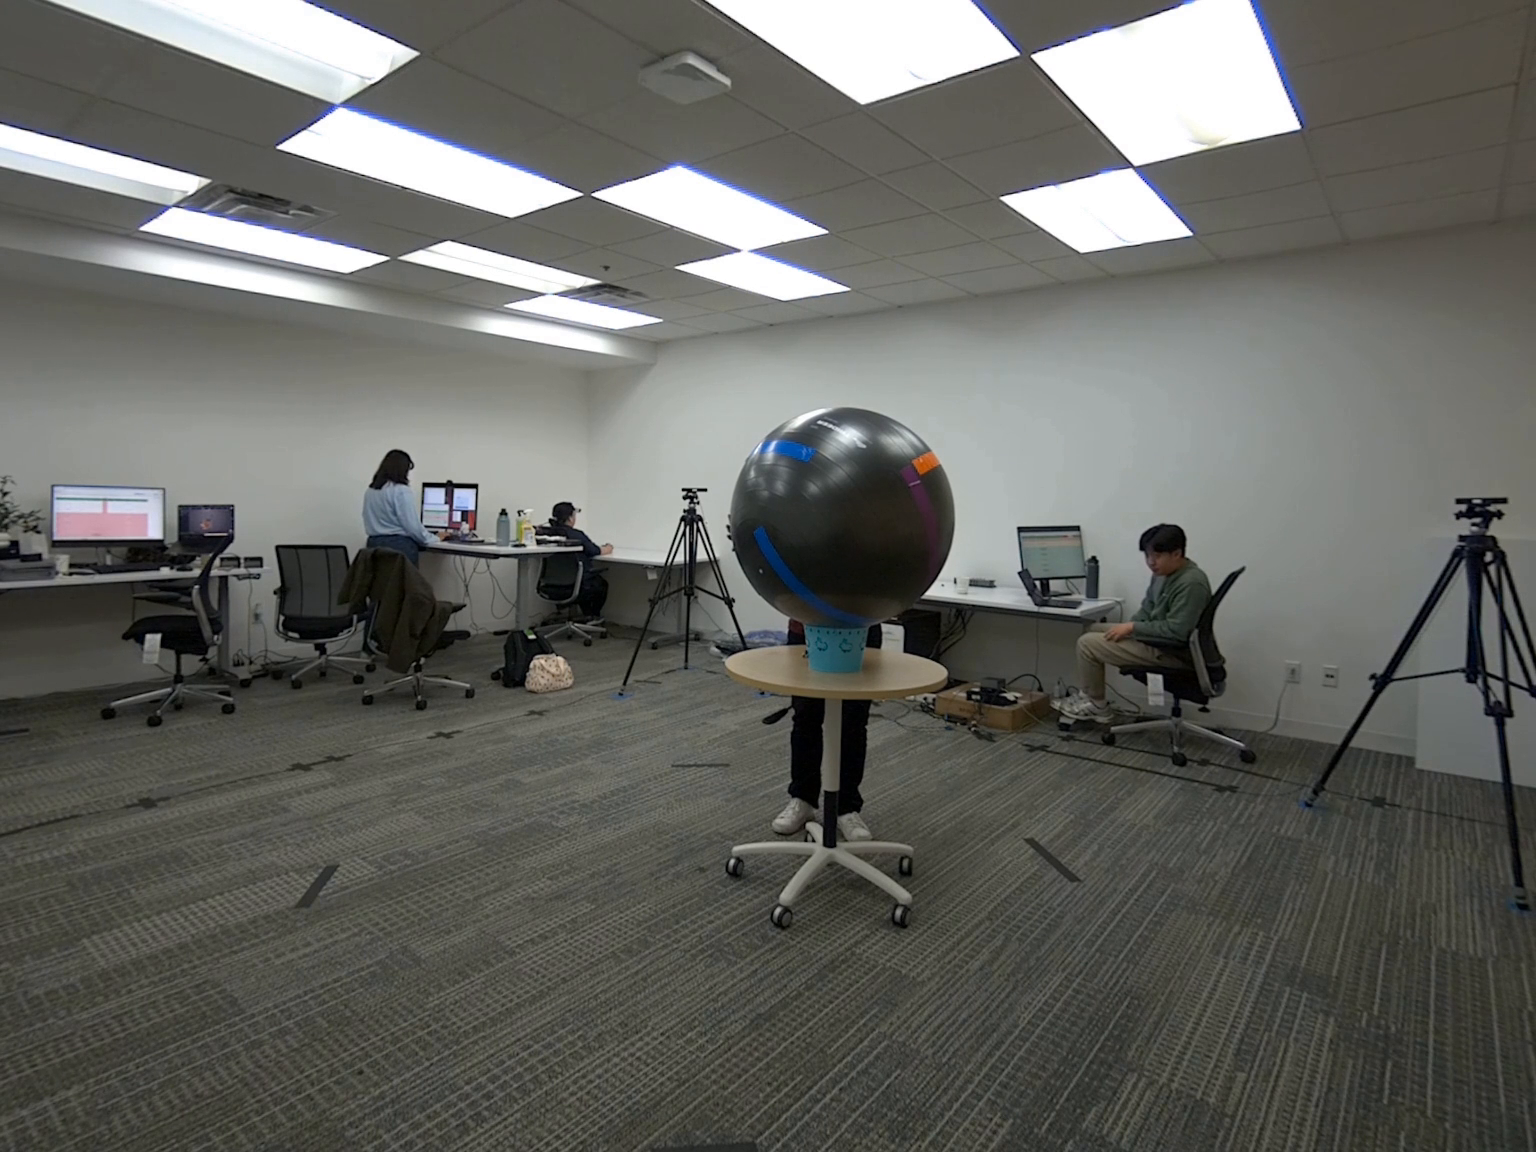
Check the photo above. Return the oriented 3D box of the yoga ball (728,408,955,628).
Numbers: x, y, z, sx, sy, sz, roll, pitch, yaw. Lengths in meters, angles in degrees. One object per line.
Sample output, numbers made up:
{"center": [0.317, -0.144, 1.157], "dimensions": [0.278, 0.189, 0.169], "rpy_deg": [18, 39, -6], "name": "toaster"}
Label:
{"center": [0.246, -0.193, 2.910], "dimensions": [0.757, 0.756, 0.761], "rpy_deg": [1, 4, -2], "name": "yoga ball"}
